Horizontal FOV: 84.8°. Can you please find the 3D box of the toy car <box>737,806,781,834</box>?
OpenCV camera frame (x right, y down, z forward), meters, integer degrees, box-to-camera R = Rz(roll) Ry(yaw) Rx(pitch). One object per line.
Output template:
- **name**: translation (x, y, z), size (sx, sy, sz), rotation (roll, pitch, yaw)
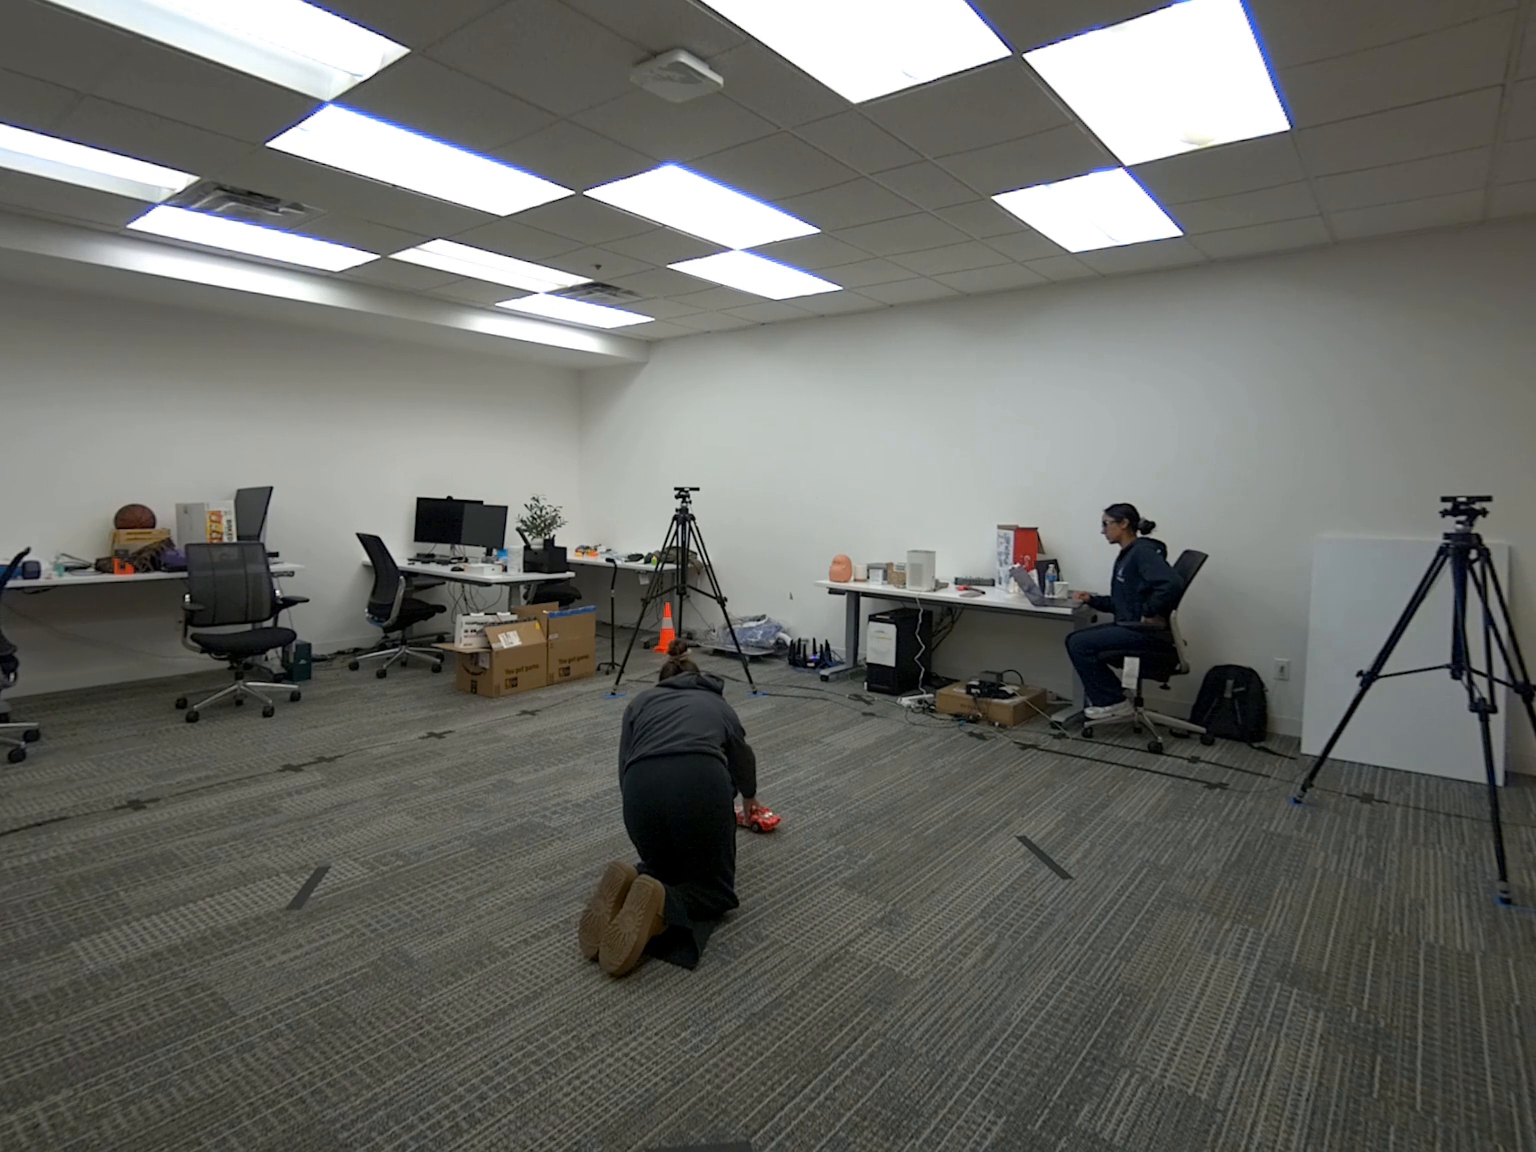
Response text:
- **toy car**: translation (-0.065, 0.998, 3.509), size (0.261, 0.083, 0.127), rotation (-9, -2, 35)
